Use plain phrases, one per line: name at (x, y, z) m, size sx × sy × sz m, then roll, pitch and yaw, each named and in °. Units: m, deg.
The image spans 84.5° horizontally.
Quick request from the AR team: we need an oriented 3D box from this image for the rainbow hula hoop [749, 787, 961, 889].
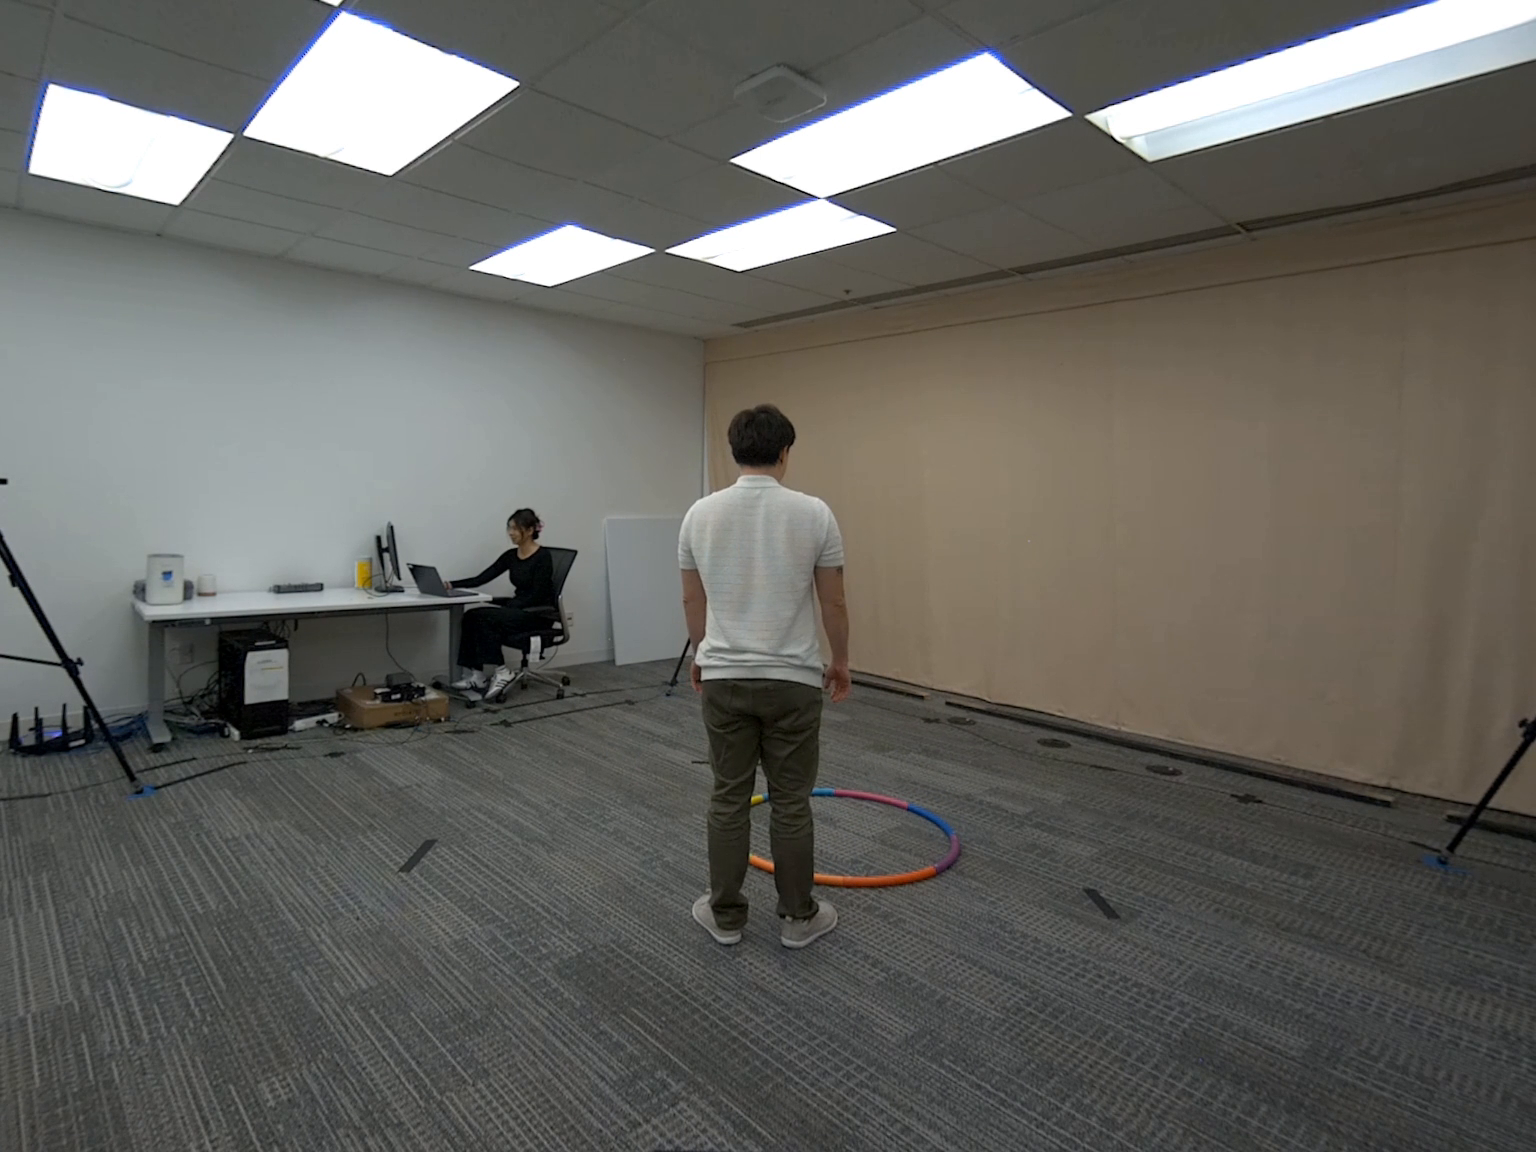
rainbow hula hoop at (0.275, 1.050, 3.512) m, size 0.978 × 0.035 × 0.982 m, roll 2°, pitch 5°, yaw -1°
